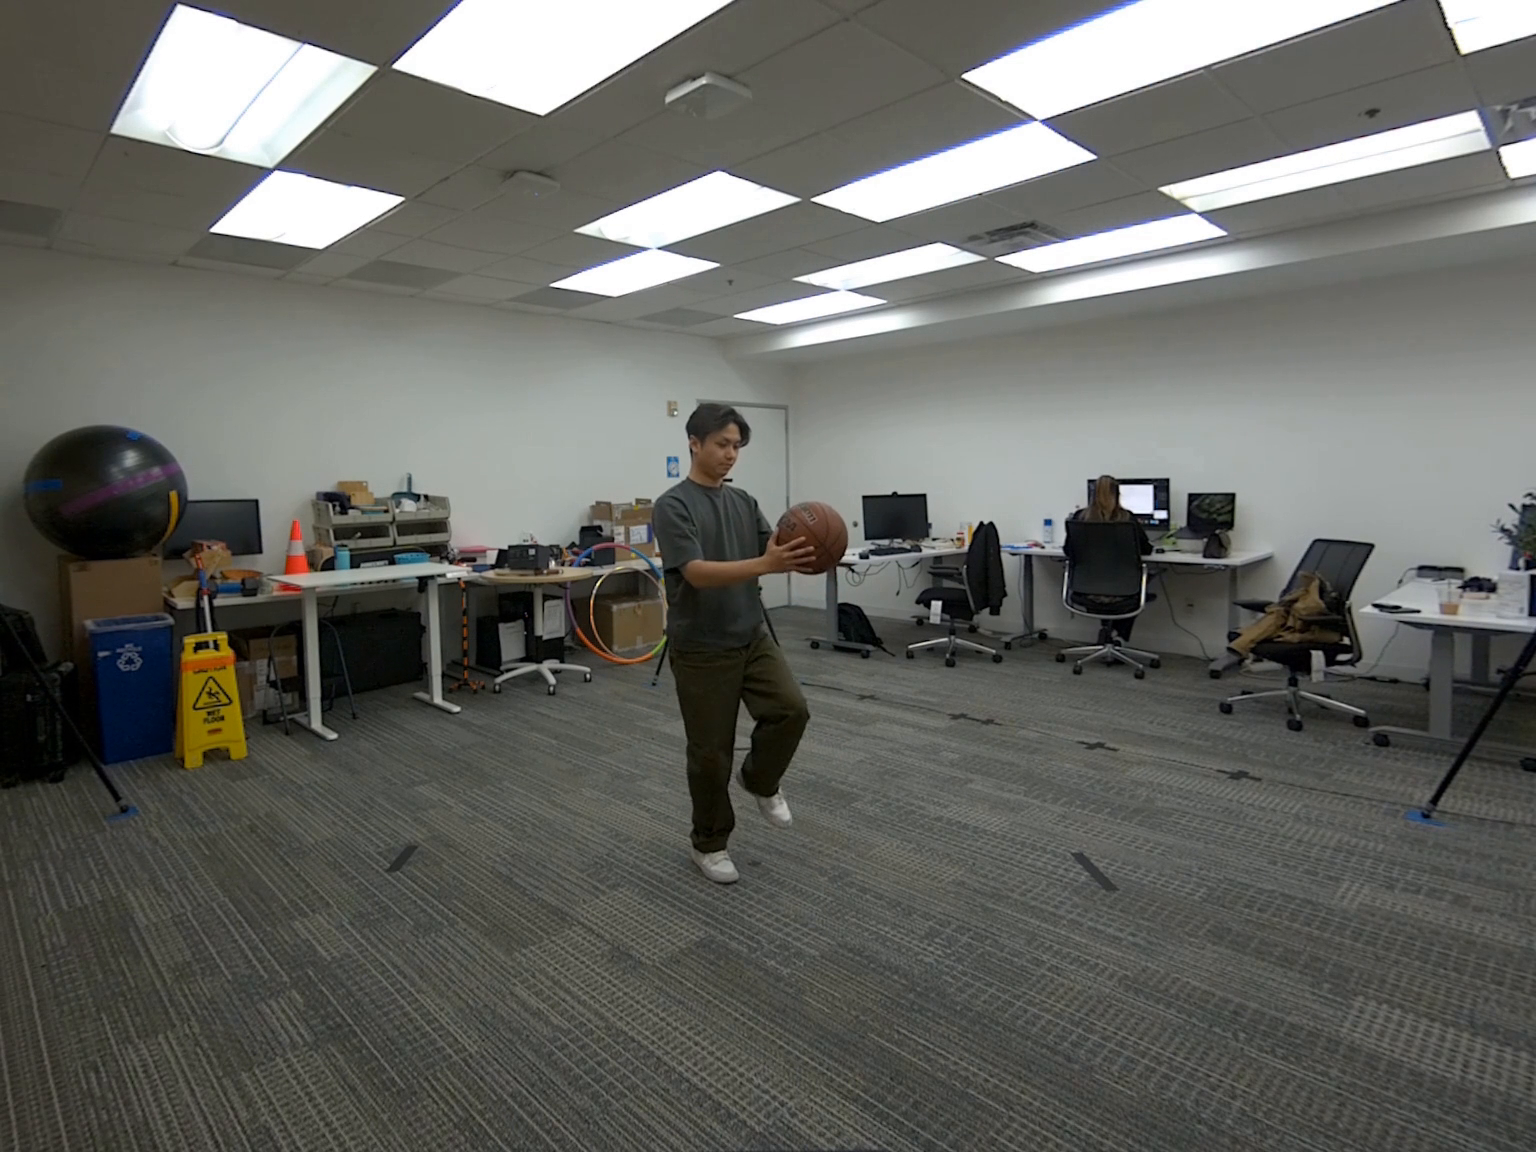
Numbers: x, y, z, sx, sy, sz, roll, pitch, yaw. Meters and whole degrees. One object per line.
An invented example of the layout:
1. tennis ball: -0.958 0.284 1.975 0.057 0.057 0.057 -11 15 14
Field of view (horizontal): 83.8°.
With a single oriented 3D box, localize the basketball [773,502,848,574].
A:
1. basketball: 0.136 -0.112 2.768 0.236 0.235 0.237 -1 5 -2
